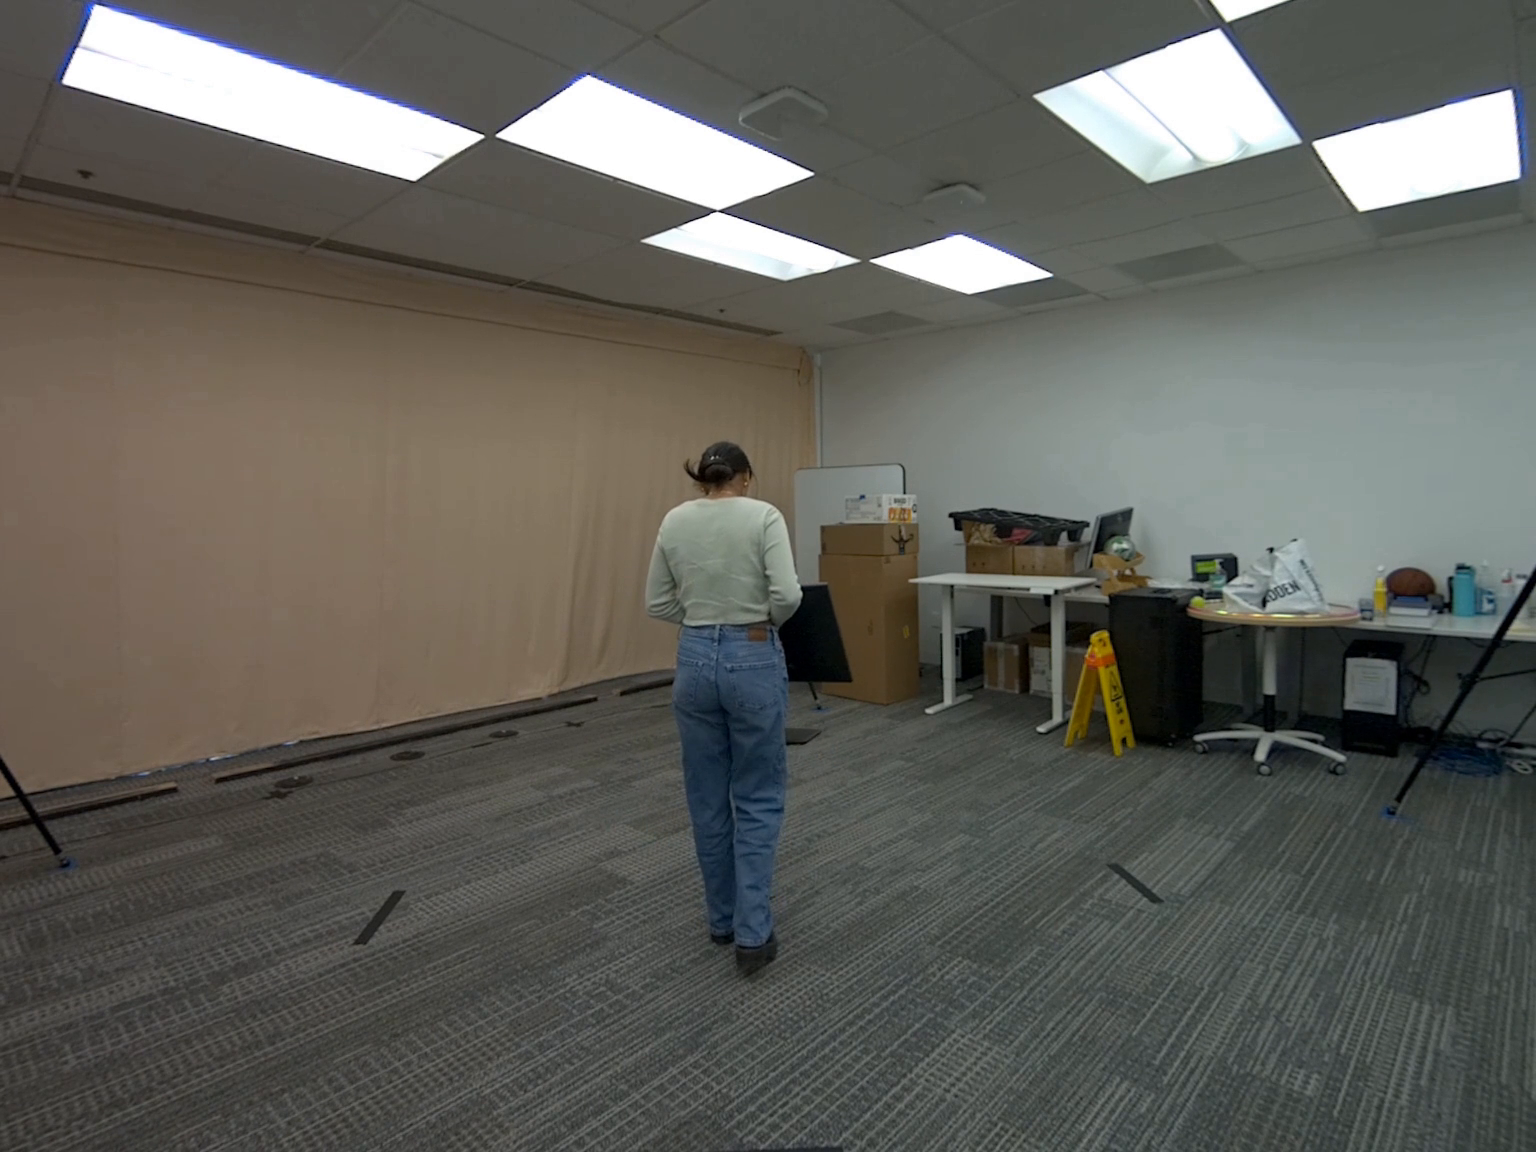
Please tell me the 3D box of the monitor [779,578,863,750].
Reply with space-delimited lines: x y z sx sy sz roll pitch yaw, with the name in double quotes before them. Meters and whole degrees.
"monitor" 0.005 0.285 2.789 0.544 0.517 0.170 -6 -3 30
